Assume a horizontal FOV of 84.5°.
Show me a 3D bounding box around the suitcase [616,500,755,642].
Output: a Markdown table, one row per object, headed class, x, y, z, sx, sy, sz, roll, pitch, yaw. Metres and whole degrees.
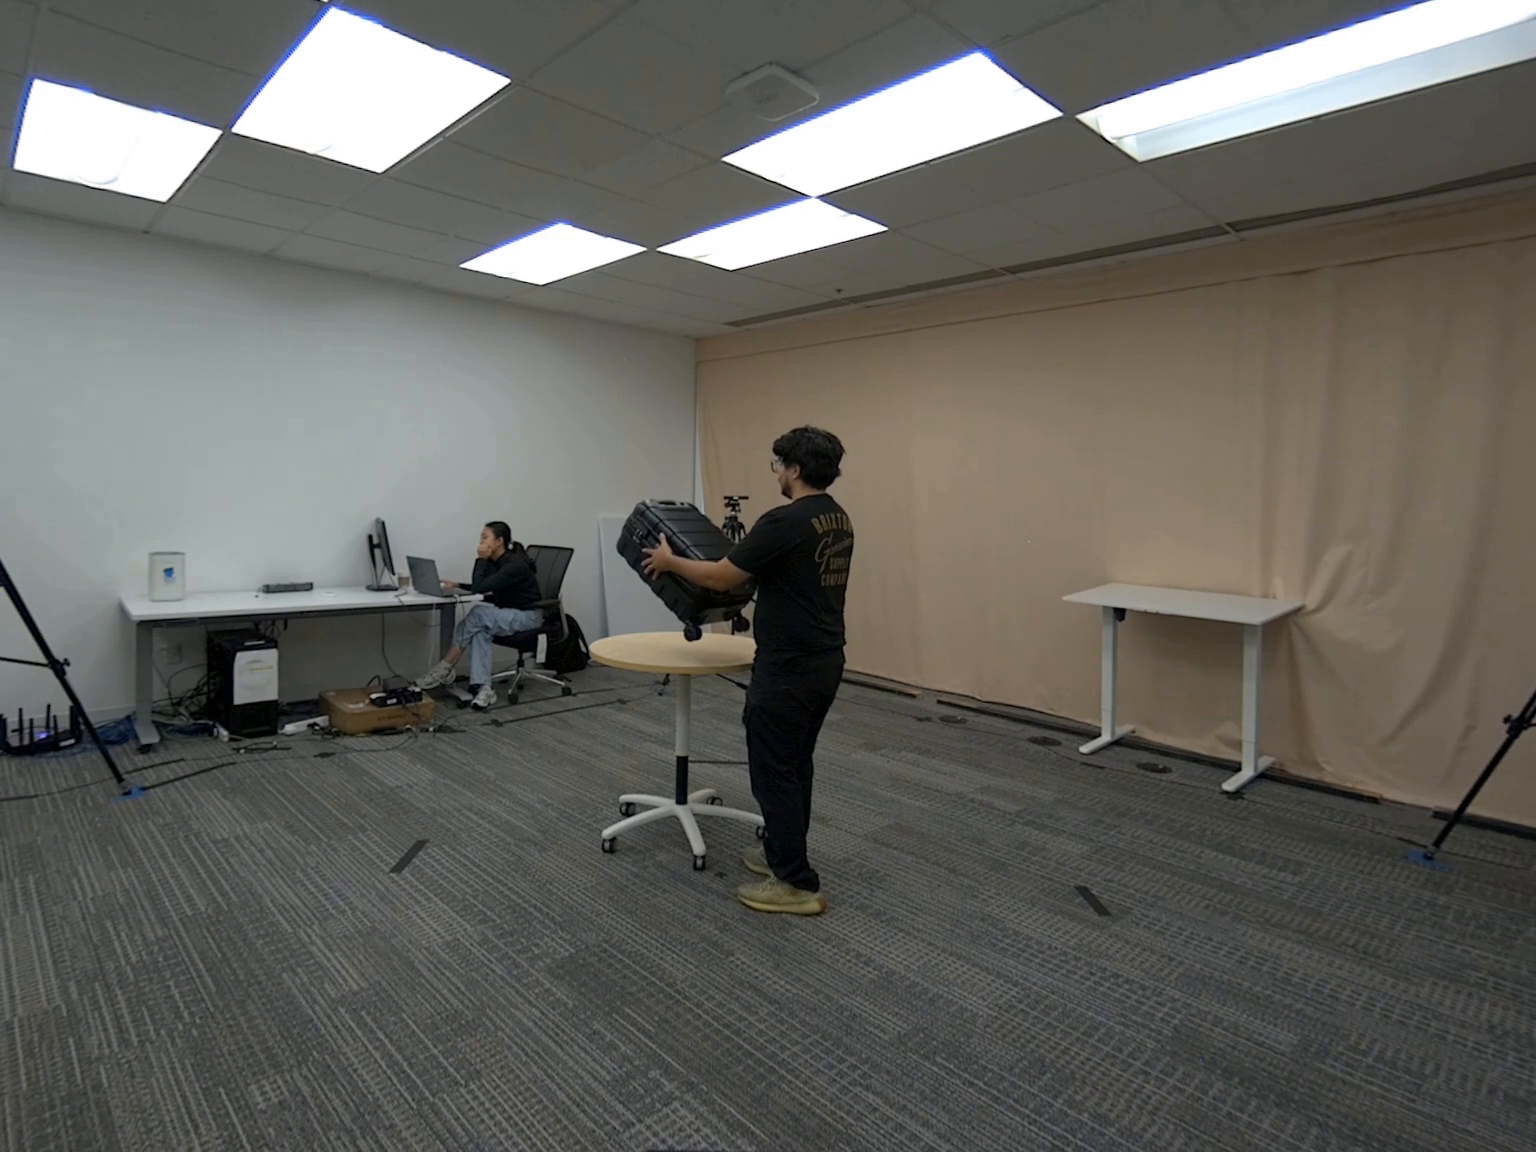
| class | x | y | z | sx | sy | sz | roll | pitch | yaw |
| --- | --- | --- | --- | --- | --- | --- | --- | --- | --- |
| suitcase | -0.304 | -0.052 | 3.196 | 0.564 | 0.247 | 0.367 | 42 | 25 | 26 |
